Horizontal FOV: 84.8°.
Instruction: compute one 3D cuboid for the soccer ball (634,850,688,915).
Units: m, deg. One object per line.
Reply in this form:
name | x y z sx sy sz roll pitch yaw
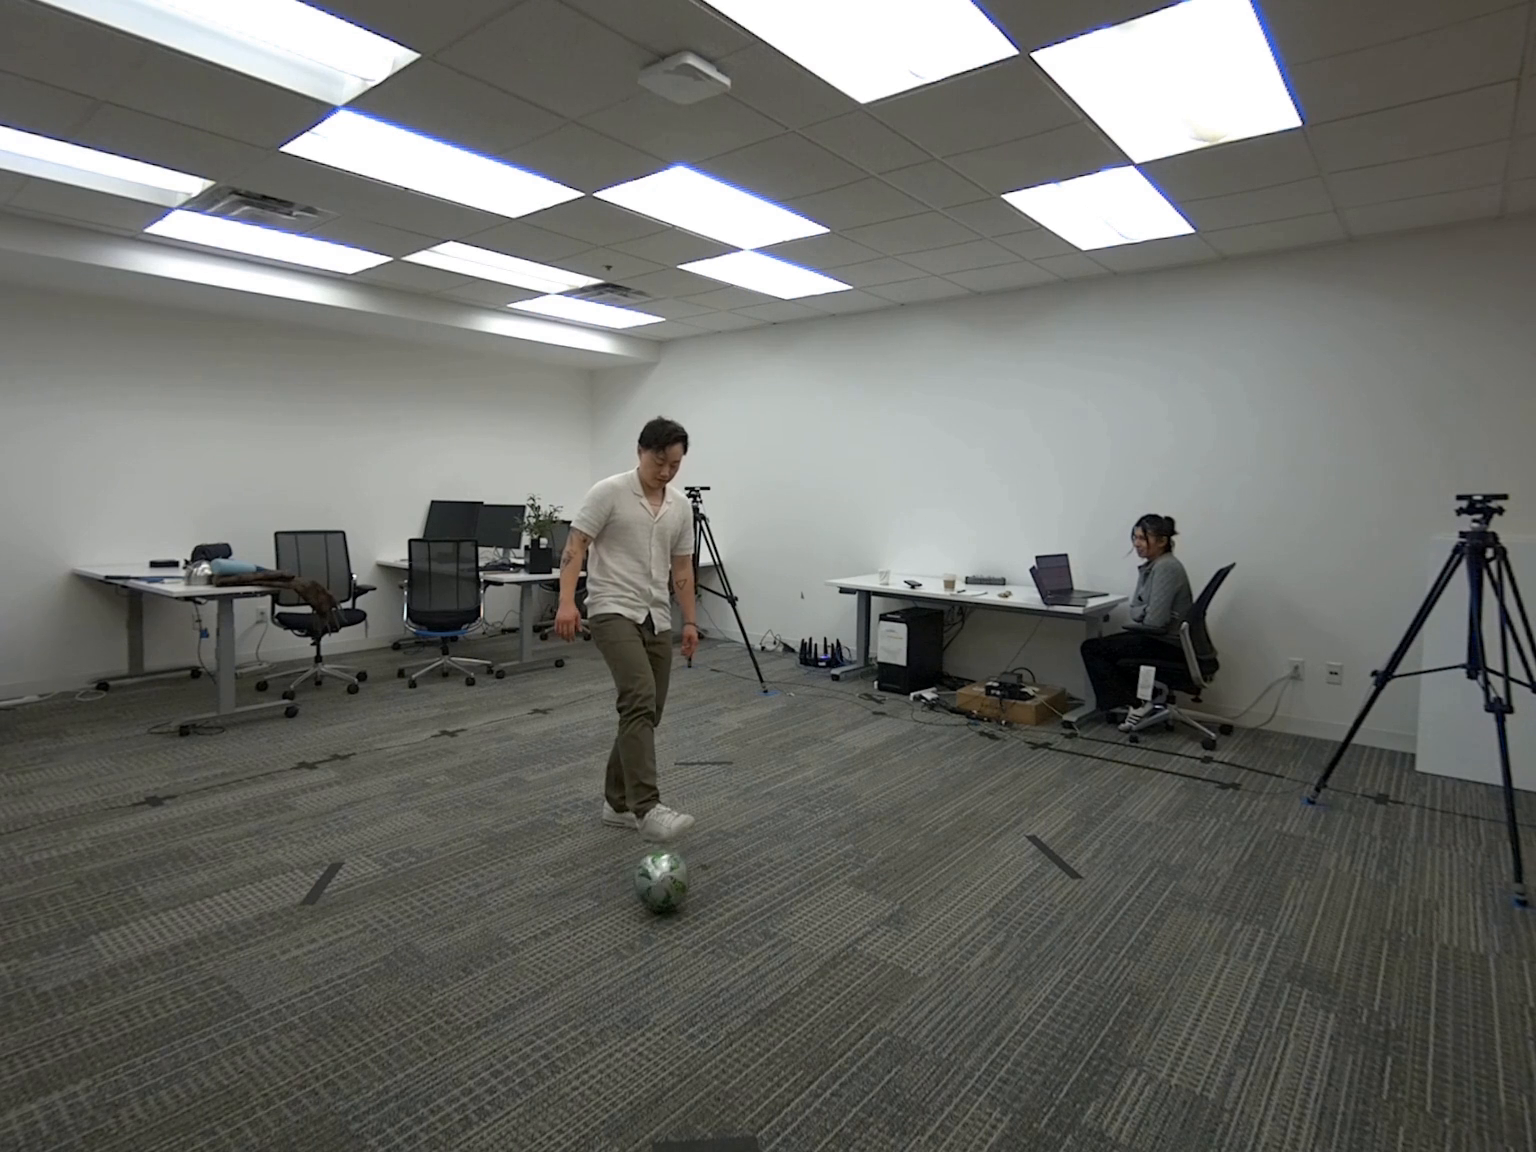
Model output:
soccer ball | -0.355 0.999 2.797 0.187 0.187 0.188 1 4 -2
